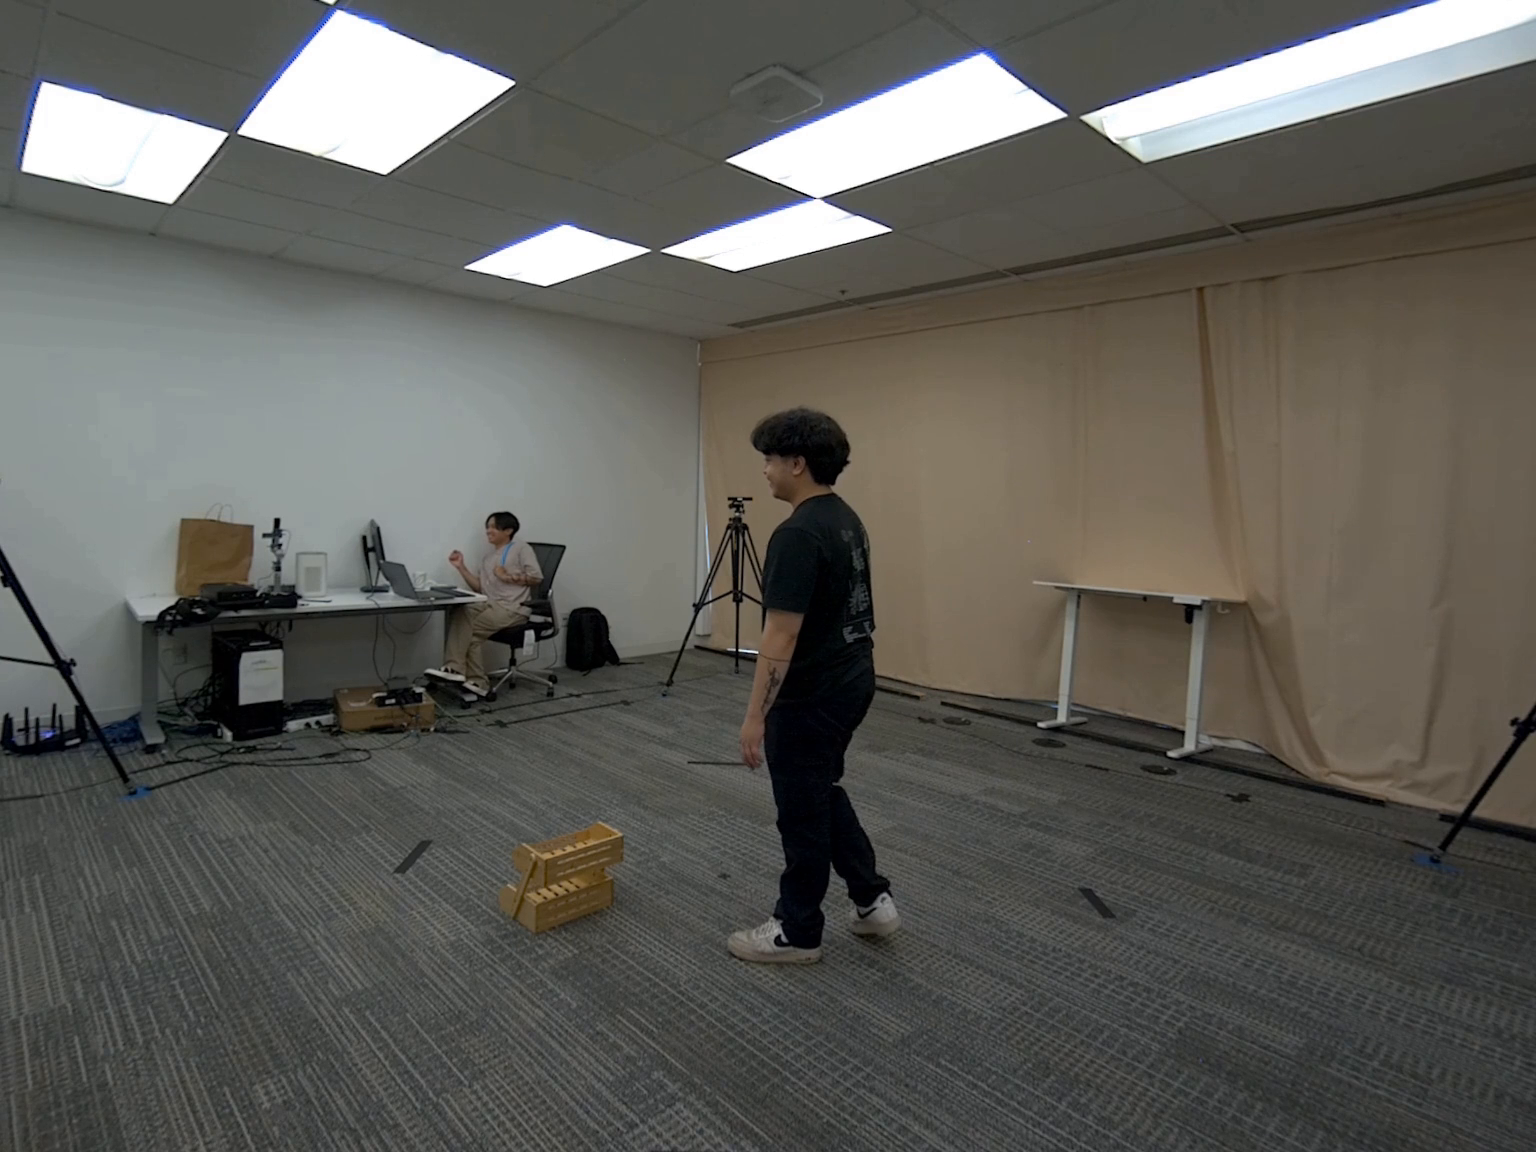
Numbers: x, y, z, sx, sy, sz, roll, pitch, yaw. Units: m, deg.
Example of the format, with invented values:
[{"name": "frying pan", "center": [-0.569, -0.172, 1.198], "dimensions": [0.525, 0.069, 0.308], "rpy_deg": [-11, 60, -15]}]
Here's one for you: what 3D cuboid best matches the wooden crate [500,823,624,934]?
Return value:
[{"name": "wooden crate", "center": [-0.708, 0.989, 2.831], "dimensions": [0.317, 0.272, 0.310], "rpy_deg": [-3, 7, -44]}]
